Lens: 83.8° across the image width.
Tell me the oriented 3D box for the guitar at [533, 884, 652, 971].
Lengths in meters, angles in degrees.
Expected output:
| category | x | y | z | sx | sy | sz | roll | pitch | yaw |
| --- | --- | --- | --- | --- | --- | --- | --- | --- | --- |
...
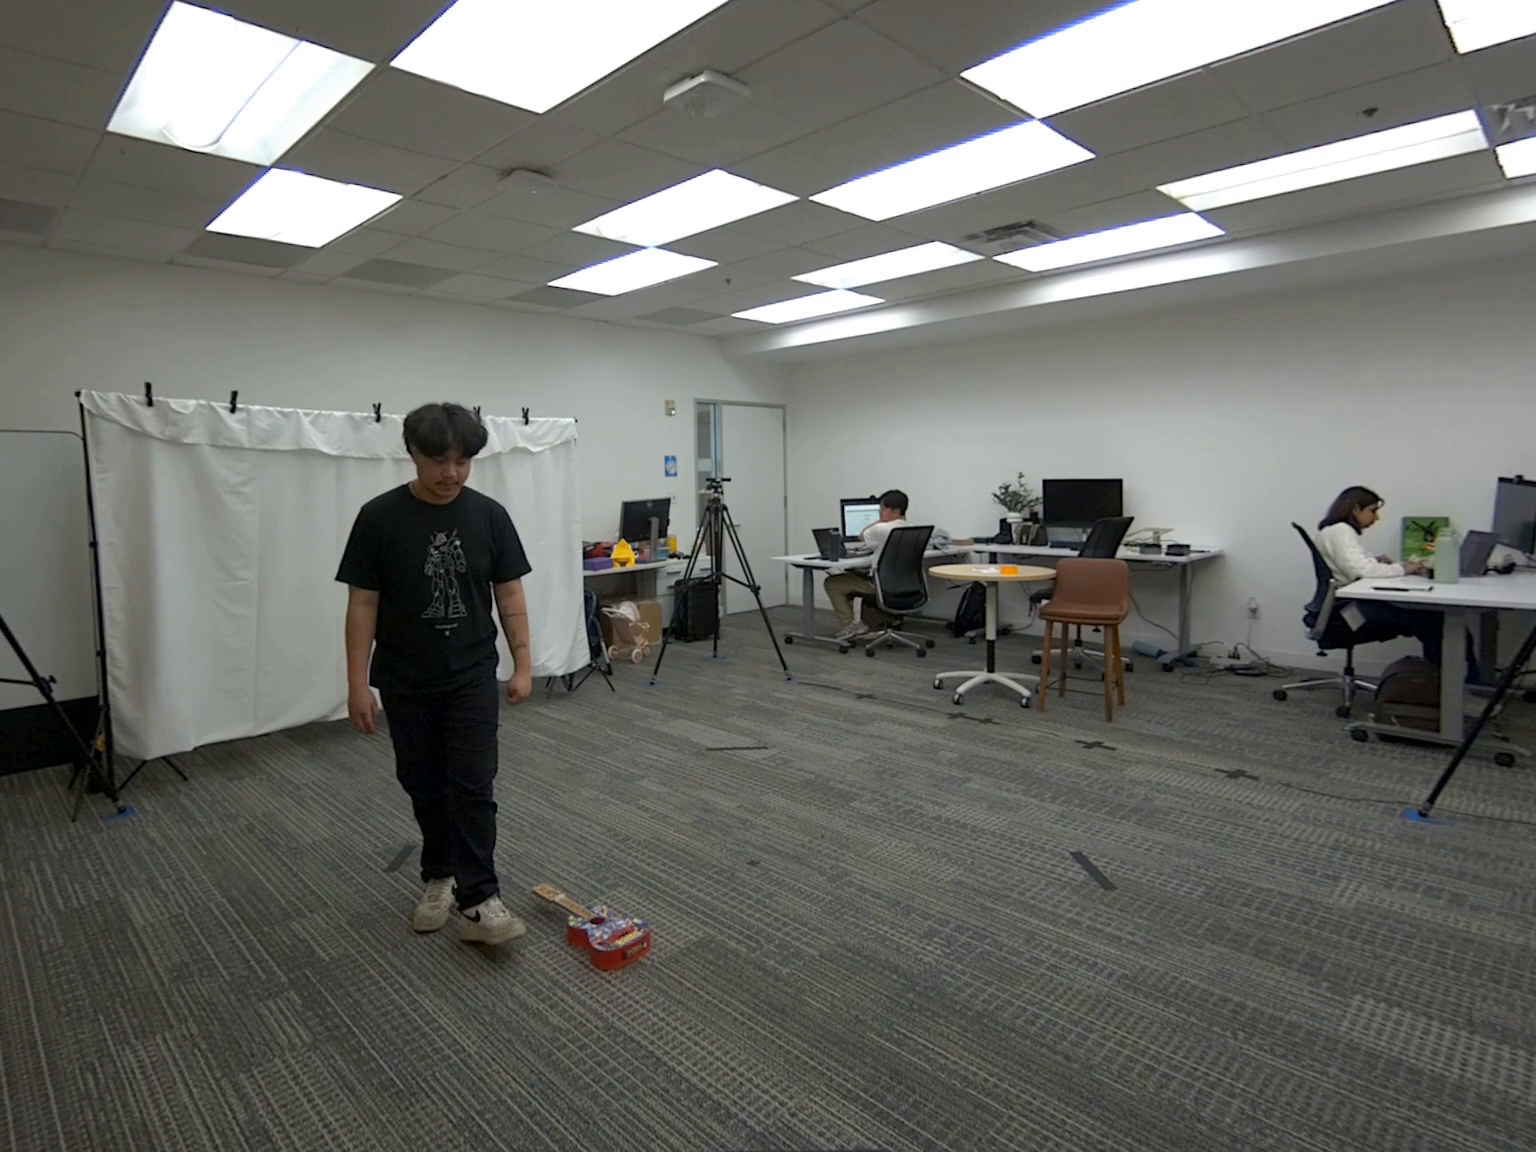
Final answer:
| category | x | y | z | sx | sy | sz | roll | pitch | yaw |
| --- | --- | --- | --- | --- | --- | --- | --- | --- | --- |
| guitar | -0.555 | 1.064 | 2.673 | 0.188 | 0.070 | 0.513 | -6 | 9 | -38 |
